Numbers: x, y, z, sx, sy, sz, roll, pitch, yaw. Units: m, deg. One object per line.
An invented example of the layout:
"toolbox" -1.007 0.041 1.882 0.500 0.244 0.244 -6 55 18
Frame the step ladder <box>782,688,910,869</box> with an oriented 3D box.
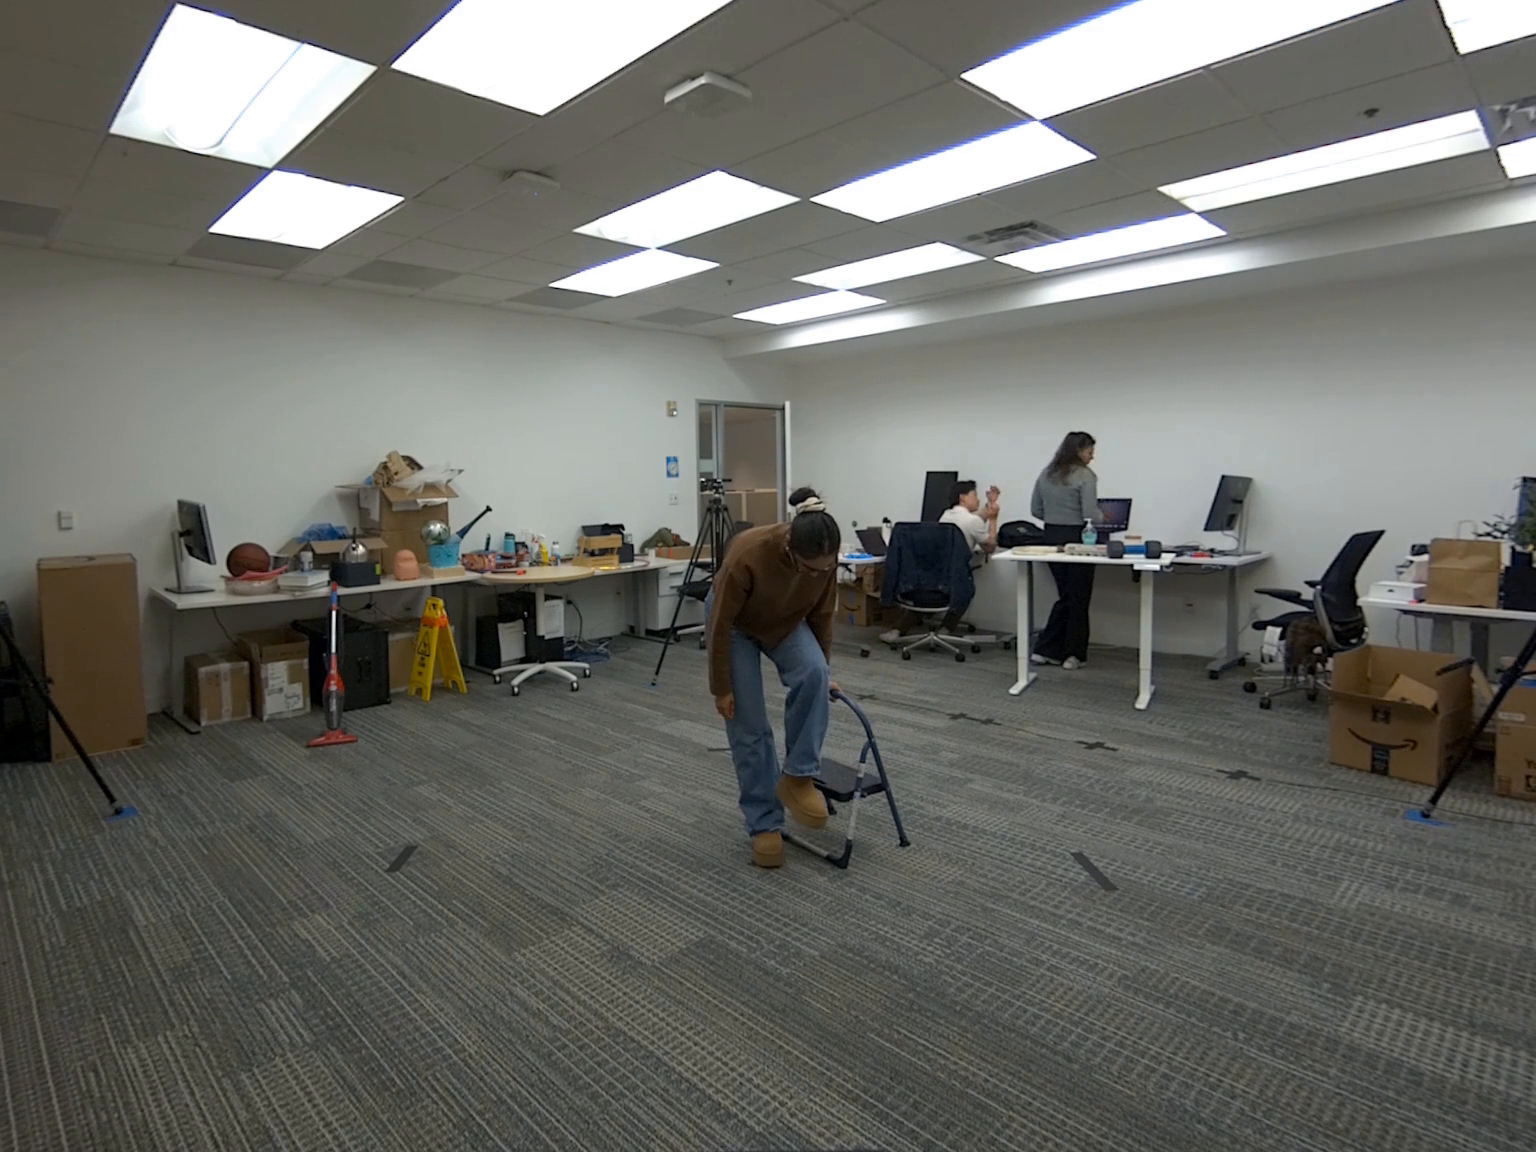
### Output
"step ladder" 0.270 0.712 3.291 0.340 0.604 0.443 -5 6 -38
